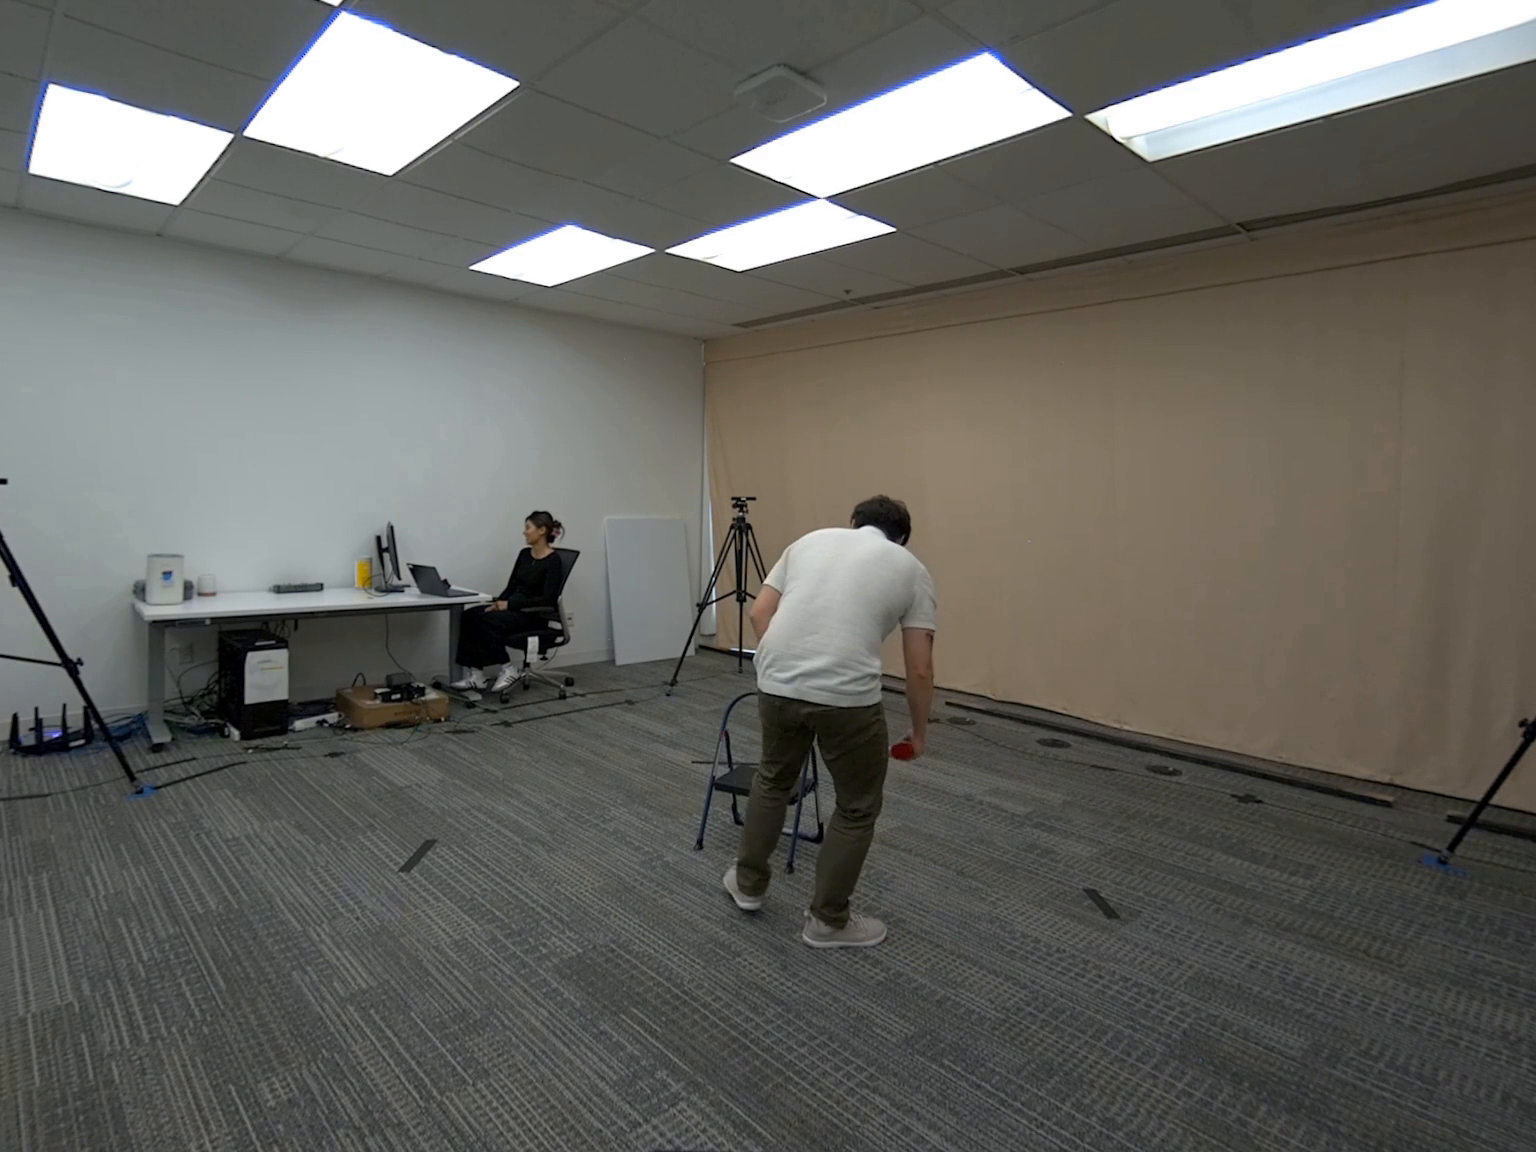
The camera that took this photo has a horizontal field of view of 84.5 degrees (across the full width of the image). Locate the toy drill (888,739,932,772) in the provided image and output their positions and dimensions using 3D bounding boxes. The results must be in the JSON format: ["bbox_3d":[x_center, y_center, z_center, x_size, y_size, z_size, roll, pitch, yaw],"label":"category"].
[{"bbox_3d":[0.433,0.595,2.814,0.171,0.061,0.143,-21,-6,25],"label":"toy drill"}]
